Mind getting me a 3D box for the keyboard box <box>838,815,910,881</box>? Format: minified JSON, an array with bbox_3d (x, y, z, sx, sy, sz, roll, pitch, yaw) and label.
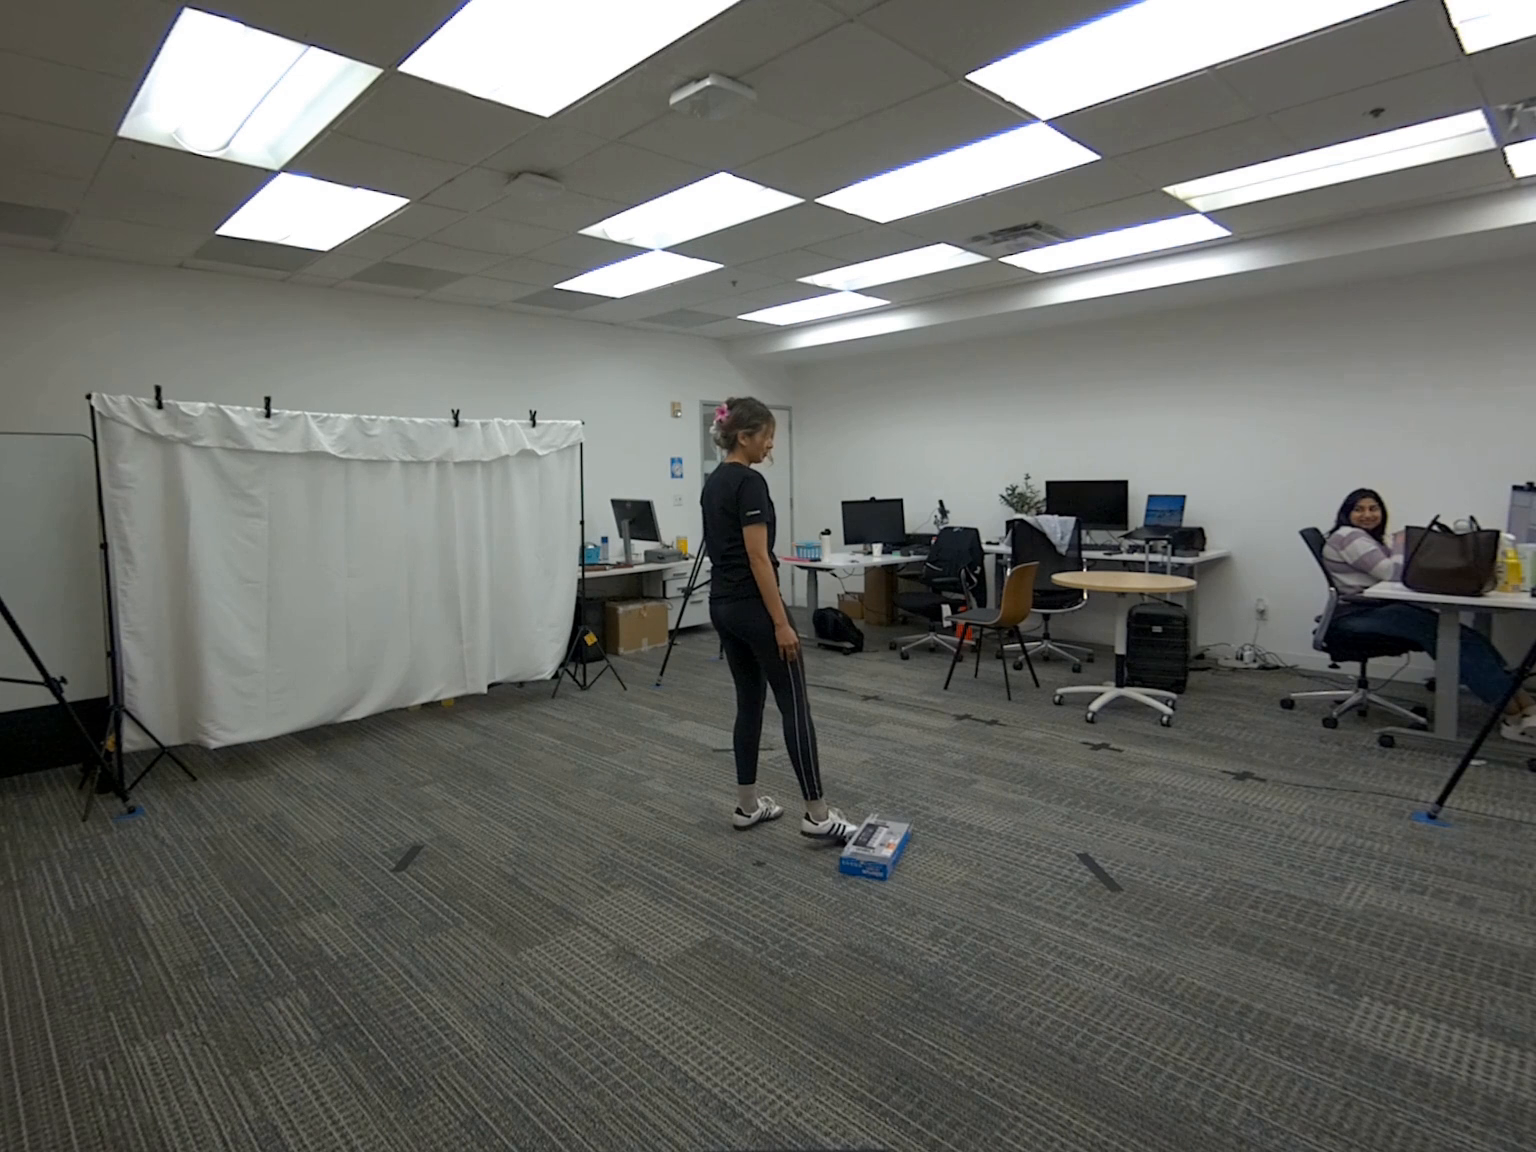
[{"bbox_3d":[0.414,1.001,3.187,0.180,0.059,0.429,2,7,23],"label":"keyboard box"}]
